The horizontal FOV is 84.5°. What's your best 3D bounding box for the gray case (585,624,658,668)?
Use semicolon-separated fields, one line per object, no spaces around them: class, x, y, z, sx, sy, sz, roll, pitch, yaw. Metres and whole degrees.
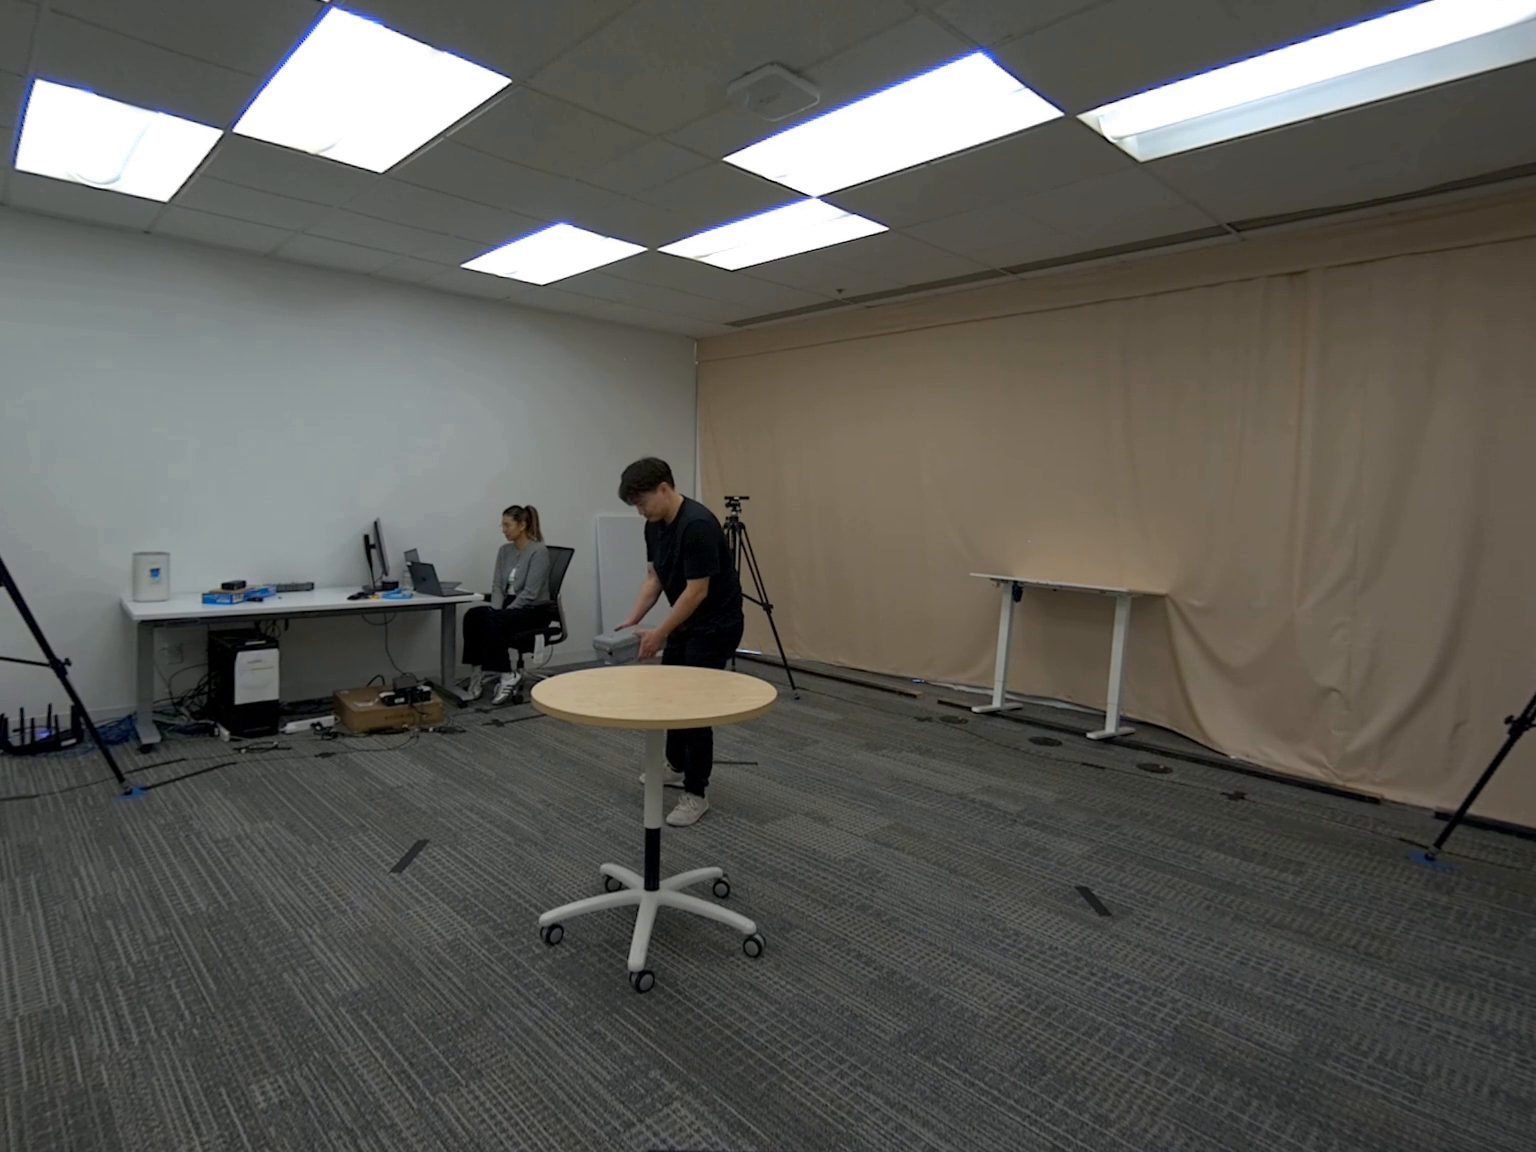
gray case;-0.599;0.292;3.616;0.256;0.104;0.262;-15;8;-35
